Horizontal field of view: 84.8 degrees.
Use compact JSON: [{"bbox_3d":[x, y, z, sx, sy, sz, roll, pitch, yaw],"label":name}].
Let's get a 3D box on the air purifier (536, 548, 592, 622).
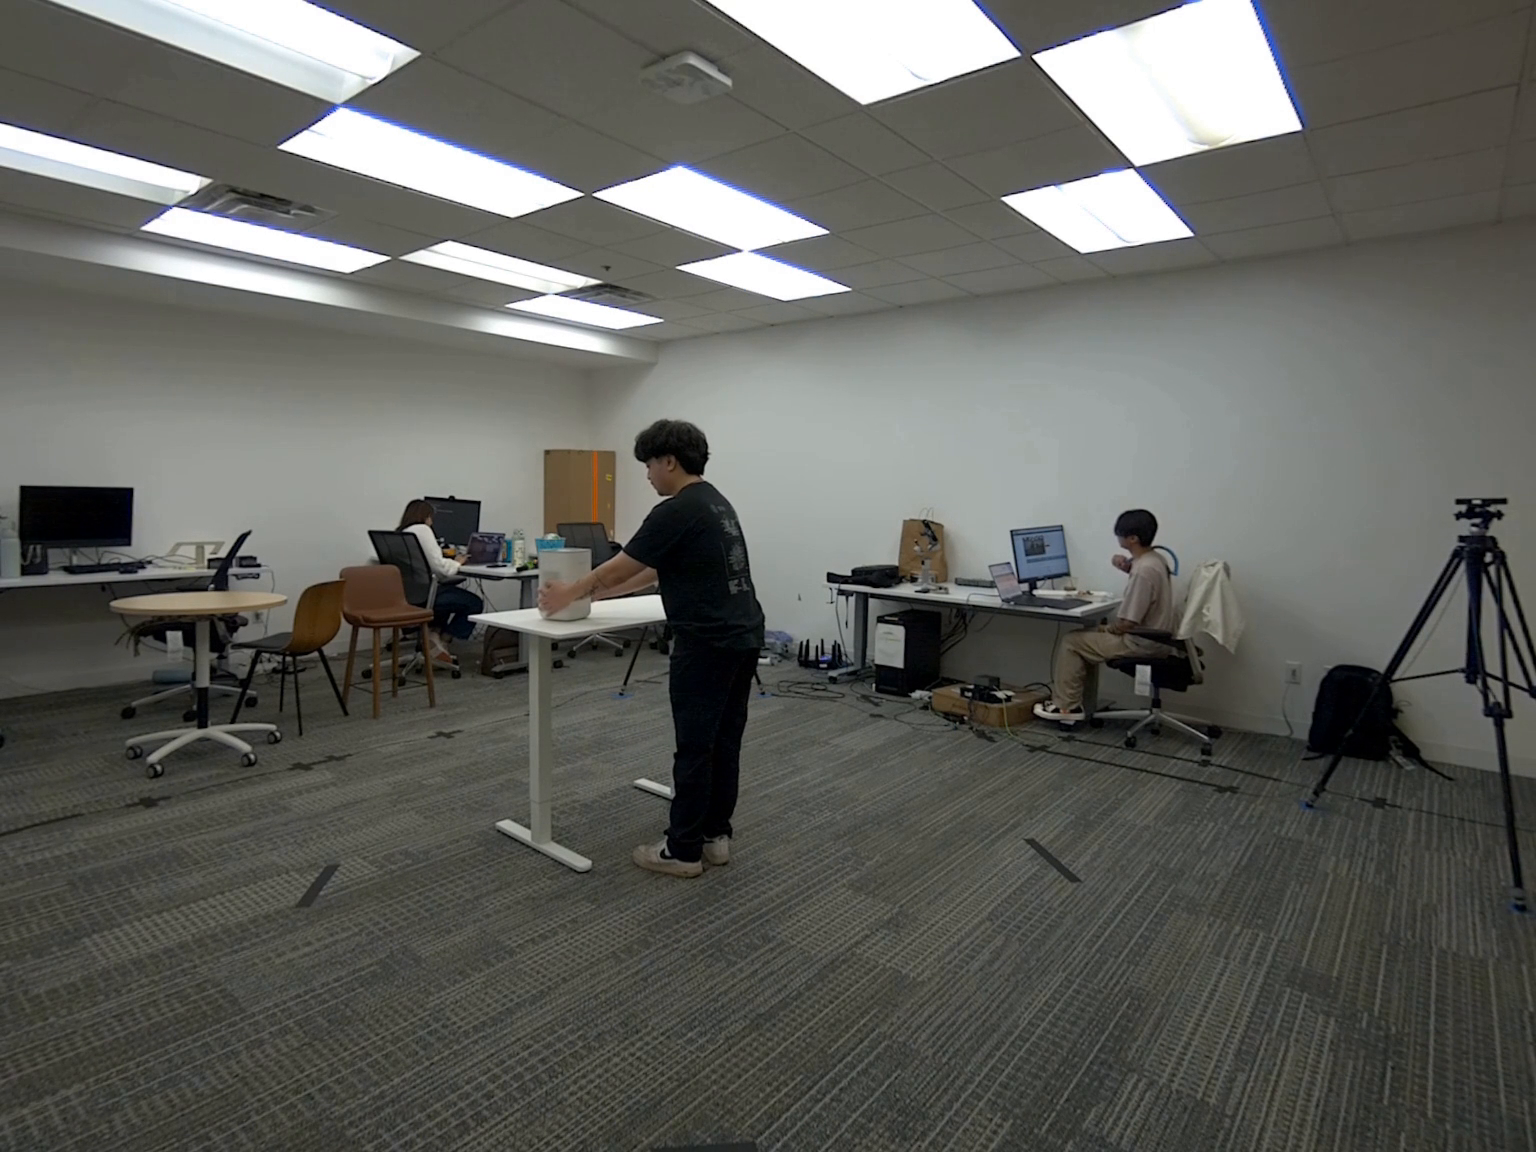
[{"bbox_3d":[-0.797,0.024,3.291,0.176,0.264,0.167,2,4,30],"label":"air purifier"}]
